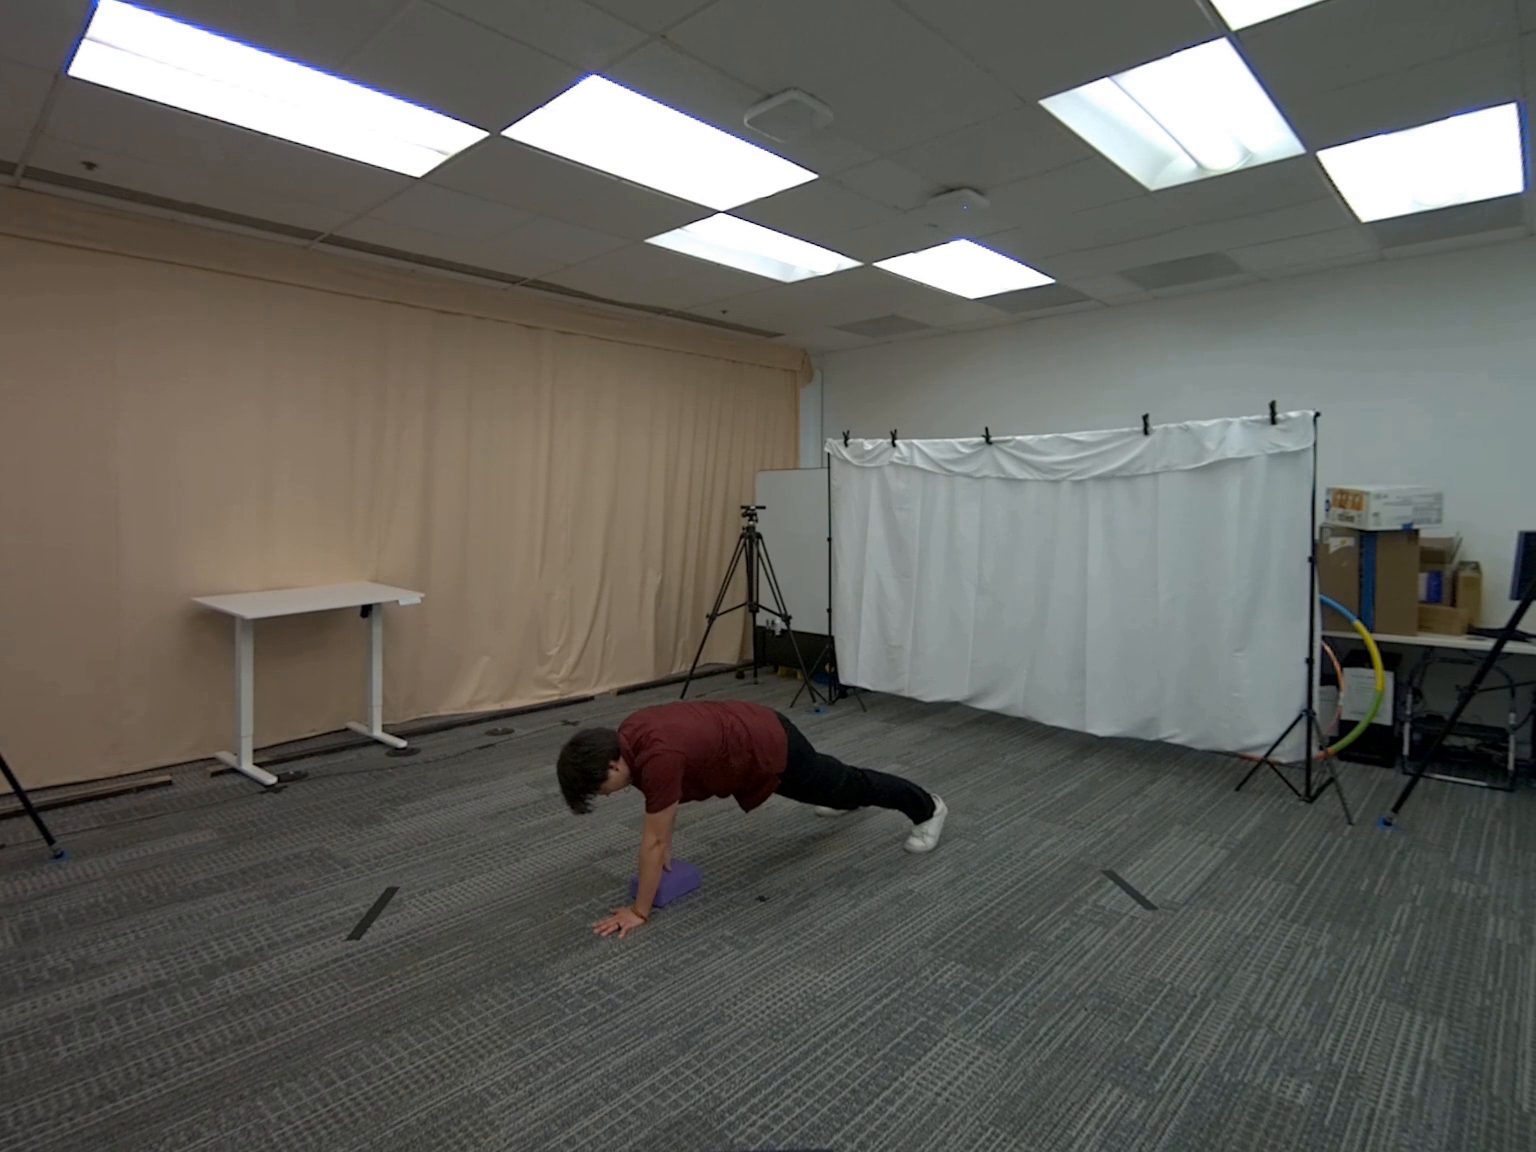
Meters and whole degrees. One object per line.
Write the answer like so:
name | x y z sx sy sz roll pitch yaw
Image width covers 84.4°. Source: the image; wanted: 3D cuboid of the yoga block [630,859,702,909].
yoga block | -0.365 1.102 3.035 0.154 0.076 0.223 3 7 38
